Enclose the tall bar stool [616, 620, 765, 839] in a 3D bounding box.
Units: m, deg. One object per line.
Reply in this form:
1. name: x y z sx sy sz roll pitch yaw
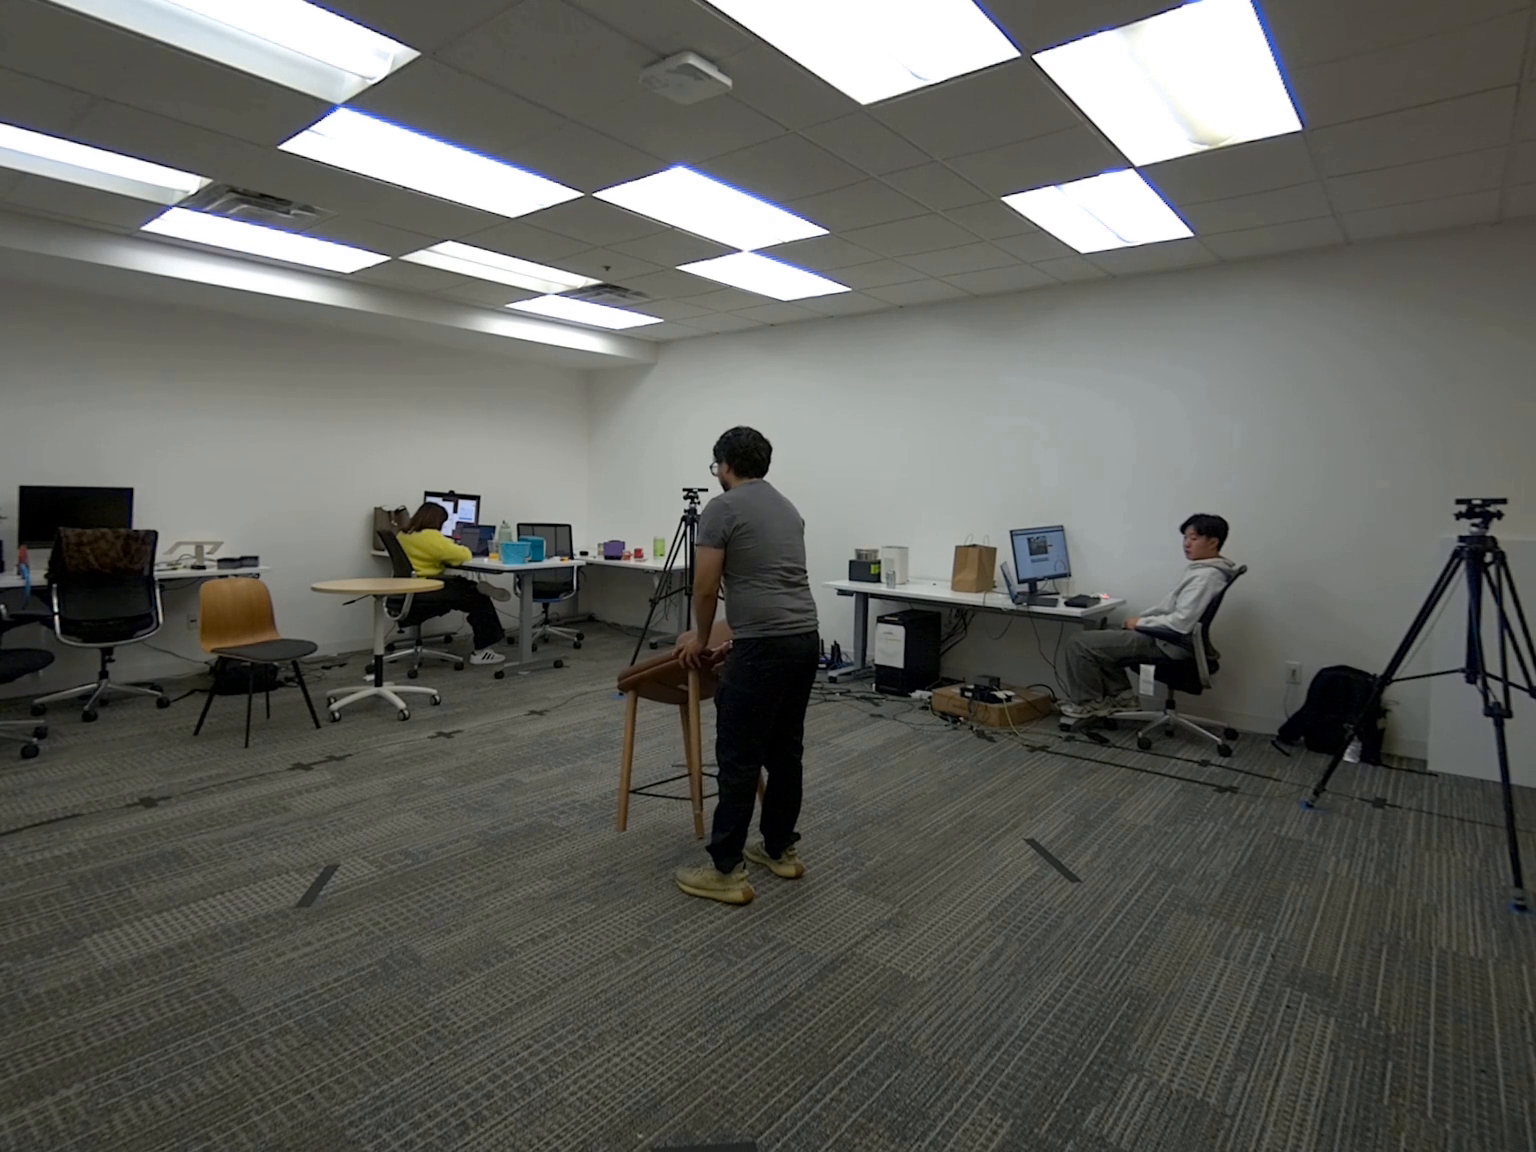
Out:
1. tall bar stool: -0.324 0.533 3.358 0.463 0.913 0.448 -25 -33 32
